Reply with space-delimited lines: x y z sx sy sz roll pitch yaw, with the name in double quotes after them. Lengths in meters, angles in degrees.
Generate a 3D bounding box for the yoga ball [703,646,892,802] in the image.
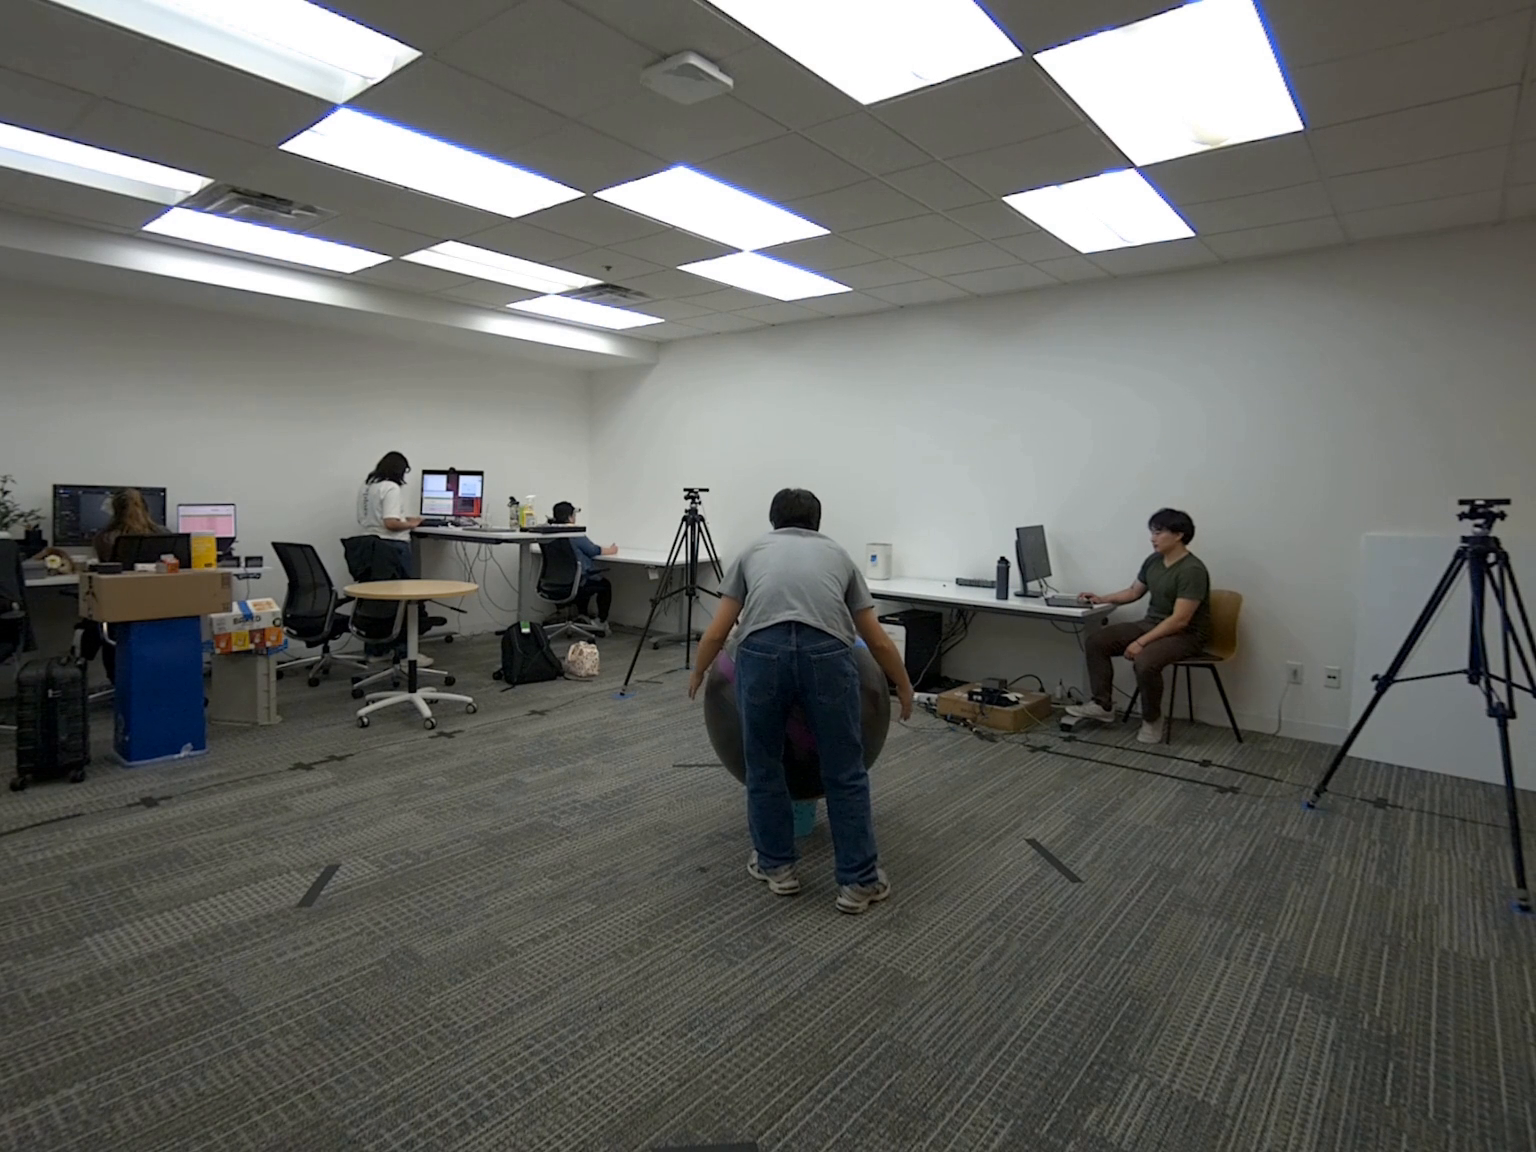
0.108 0.535 3.498 0.757 0.756 0.761 1 4 -2 "yoga ball"
